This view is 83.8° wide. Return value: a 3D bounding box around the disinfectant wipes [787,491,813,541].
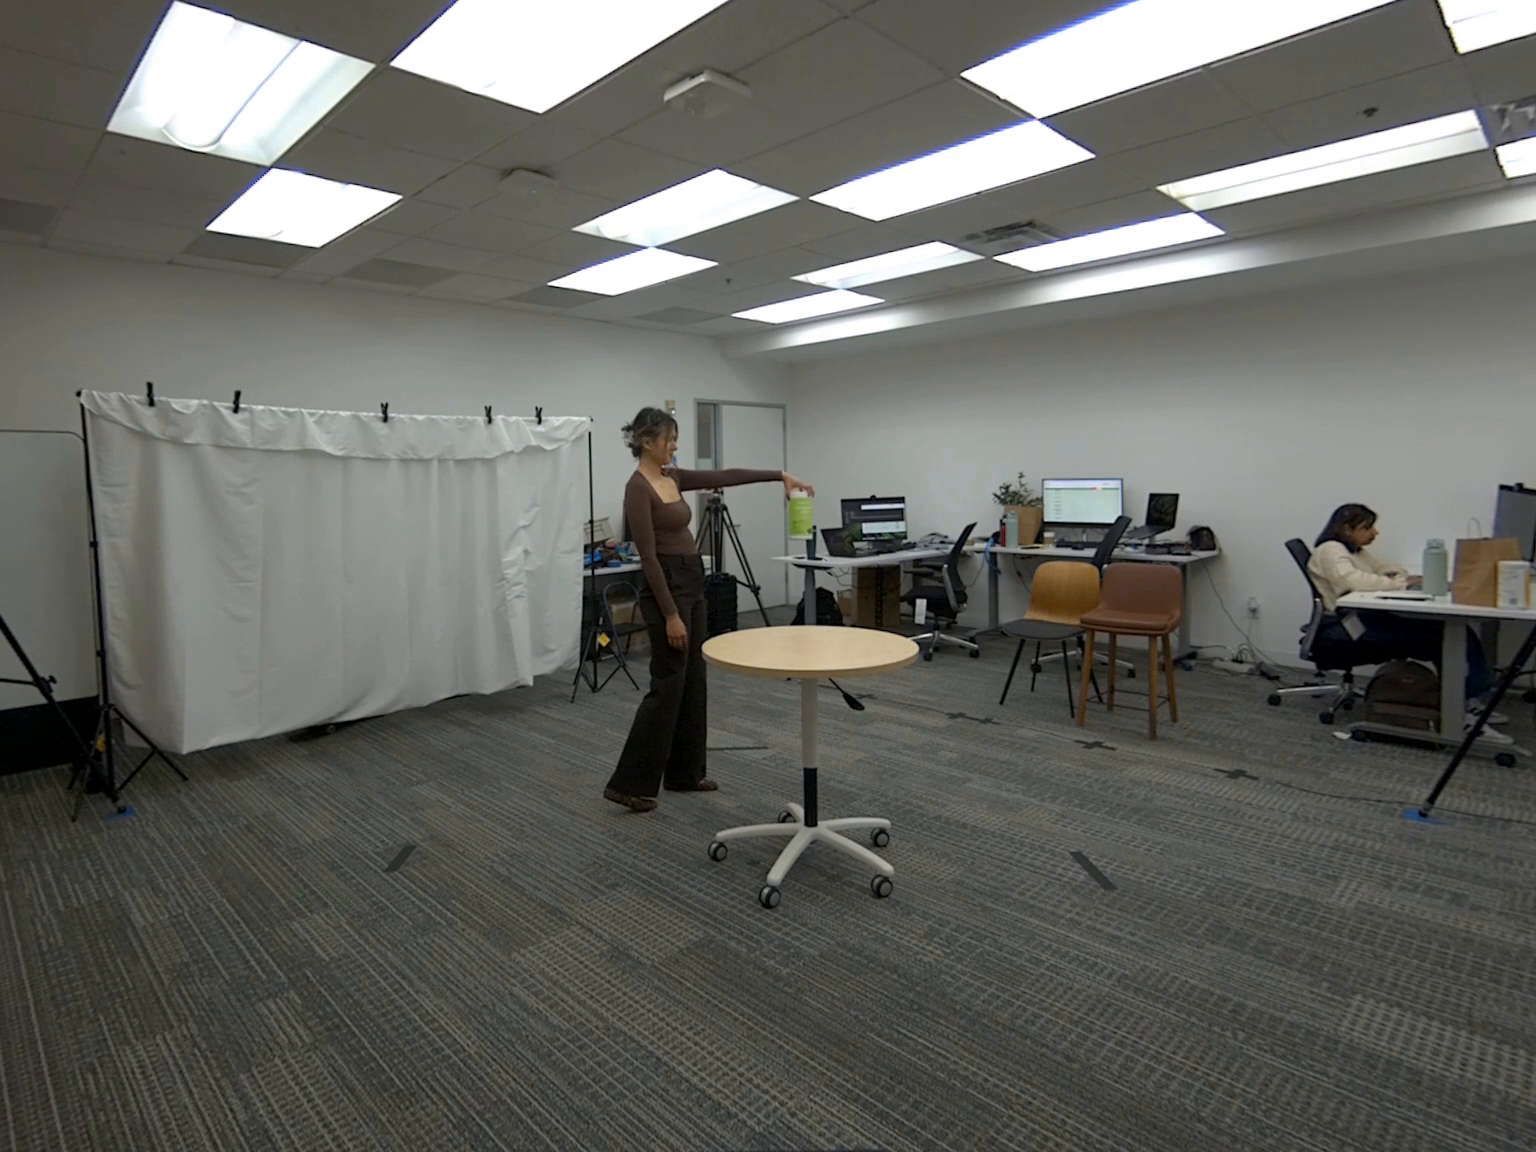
[{"bbox_3d":[0.138,-0.268,3.848,0.118,0.218,0.118,0,-2,-2],"label":"disinfectant wipes"}]
